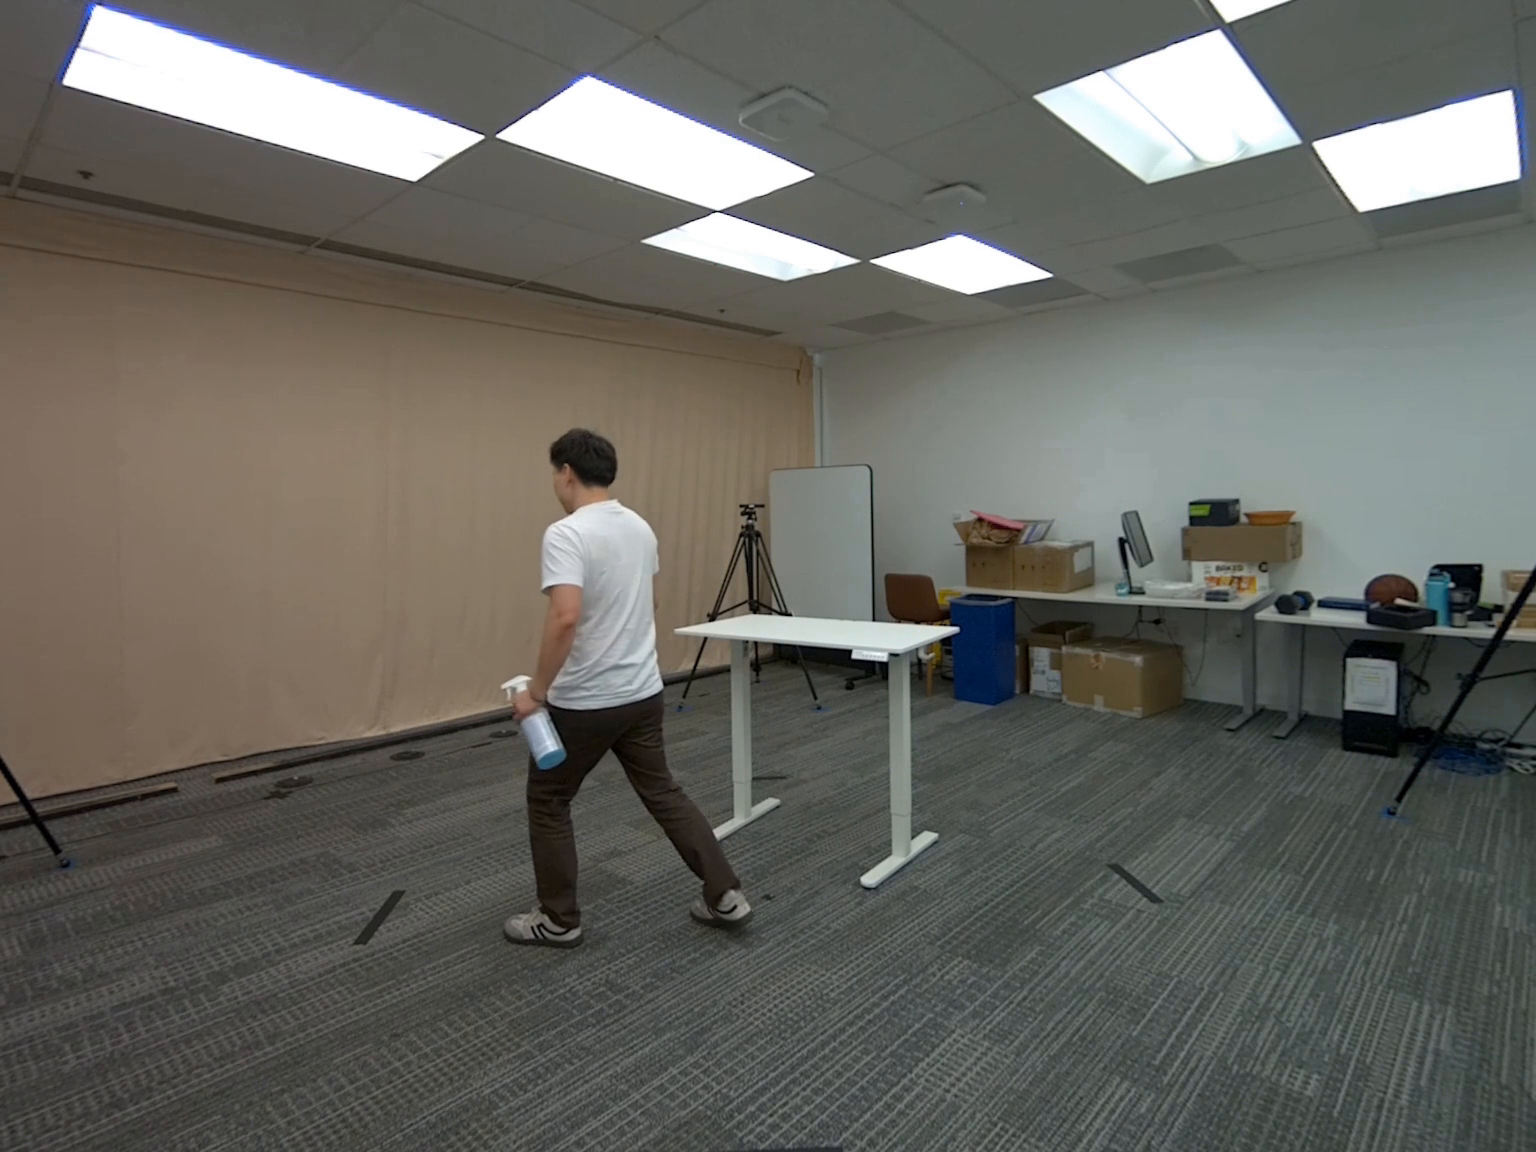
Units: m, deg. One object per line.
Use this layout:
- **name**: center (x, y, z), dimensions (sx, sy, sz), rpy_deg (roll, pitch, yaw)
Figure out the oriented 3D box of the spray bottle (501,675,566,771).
- **spray bottle**: center (-0.691, 0.414, 2.503), dimensions (0.090, 0.305, 0.084), rpy_deg (-41, -29, 17)
